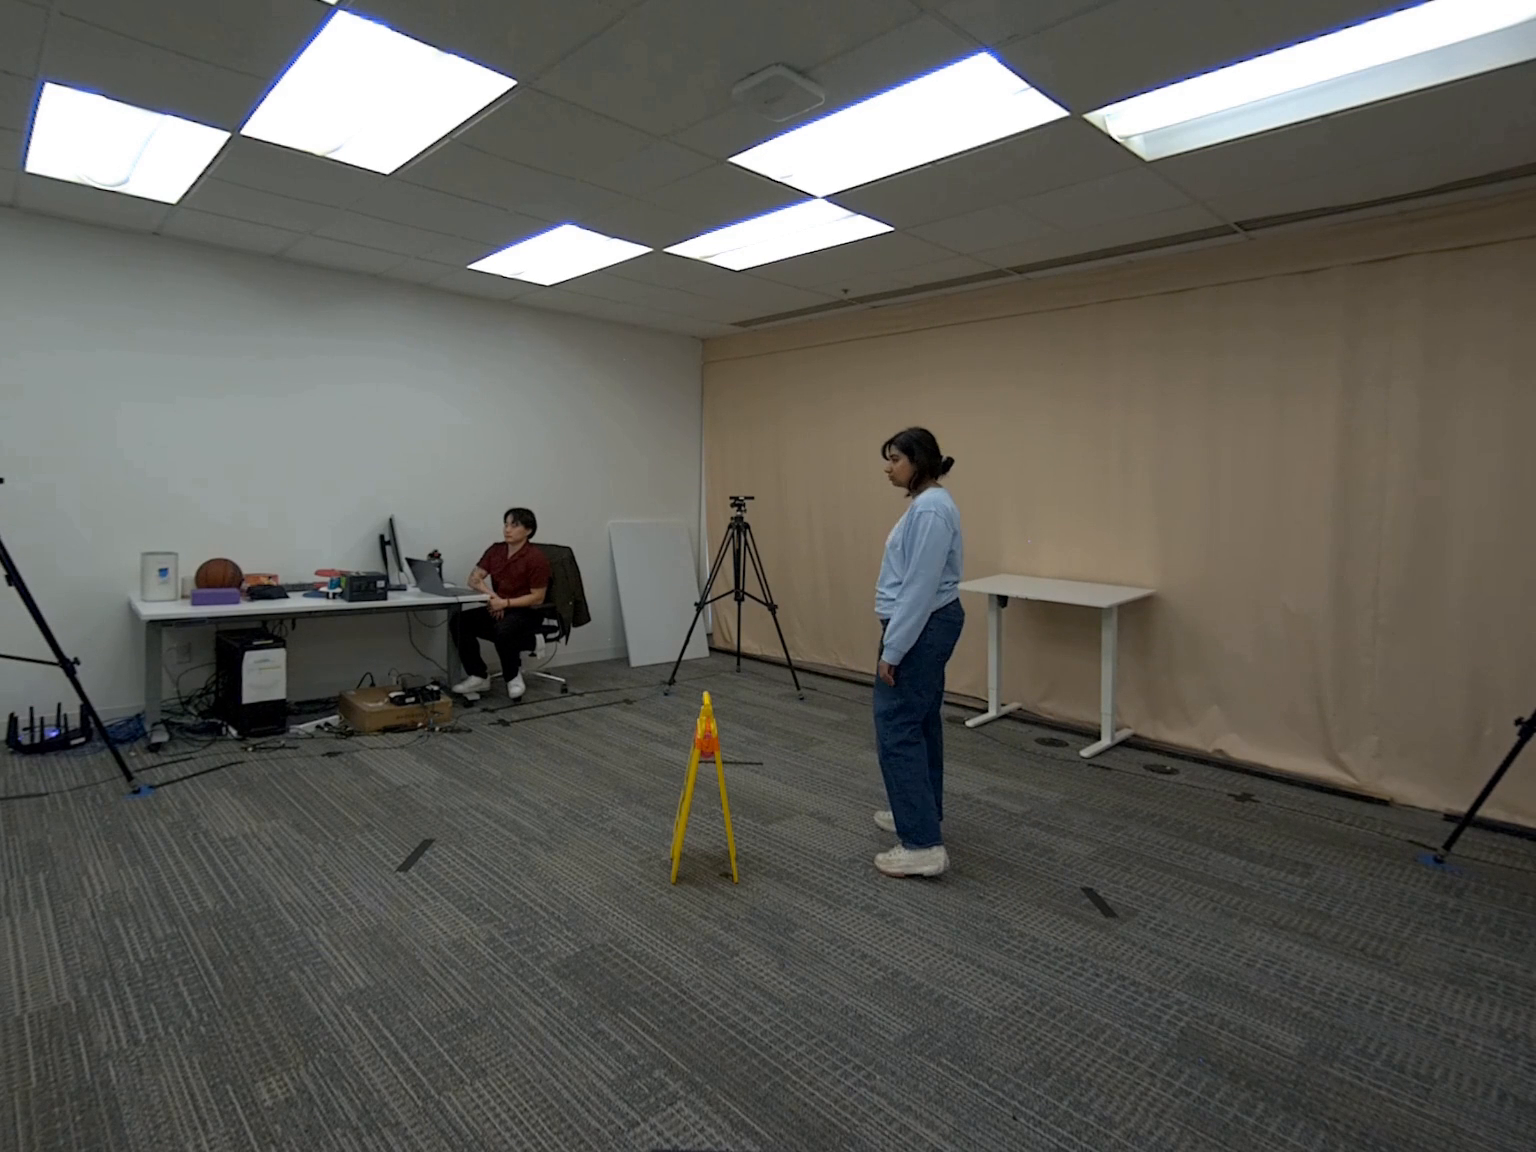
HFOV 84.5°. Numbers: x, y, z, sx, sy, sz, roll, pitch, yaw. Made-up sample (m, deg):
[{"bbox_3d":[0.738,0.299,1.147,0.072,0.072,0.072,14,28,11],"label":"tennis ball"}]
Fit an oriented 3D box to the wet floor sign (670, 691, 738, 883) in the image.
[{"bbox_3d":[-0.246,0.775,3.152,0.289,0.644,0.284,1,3,-4],"label":"wet floor sign"}]
